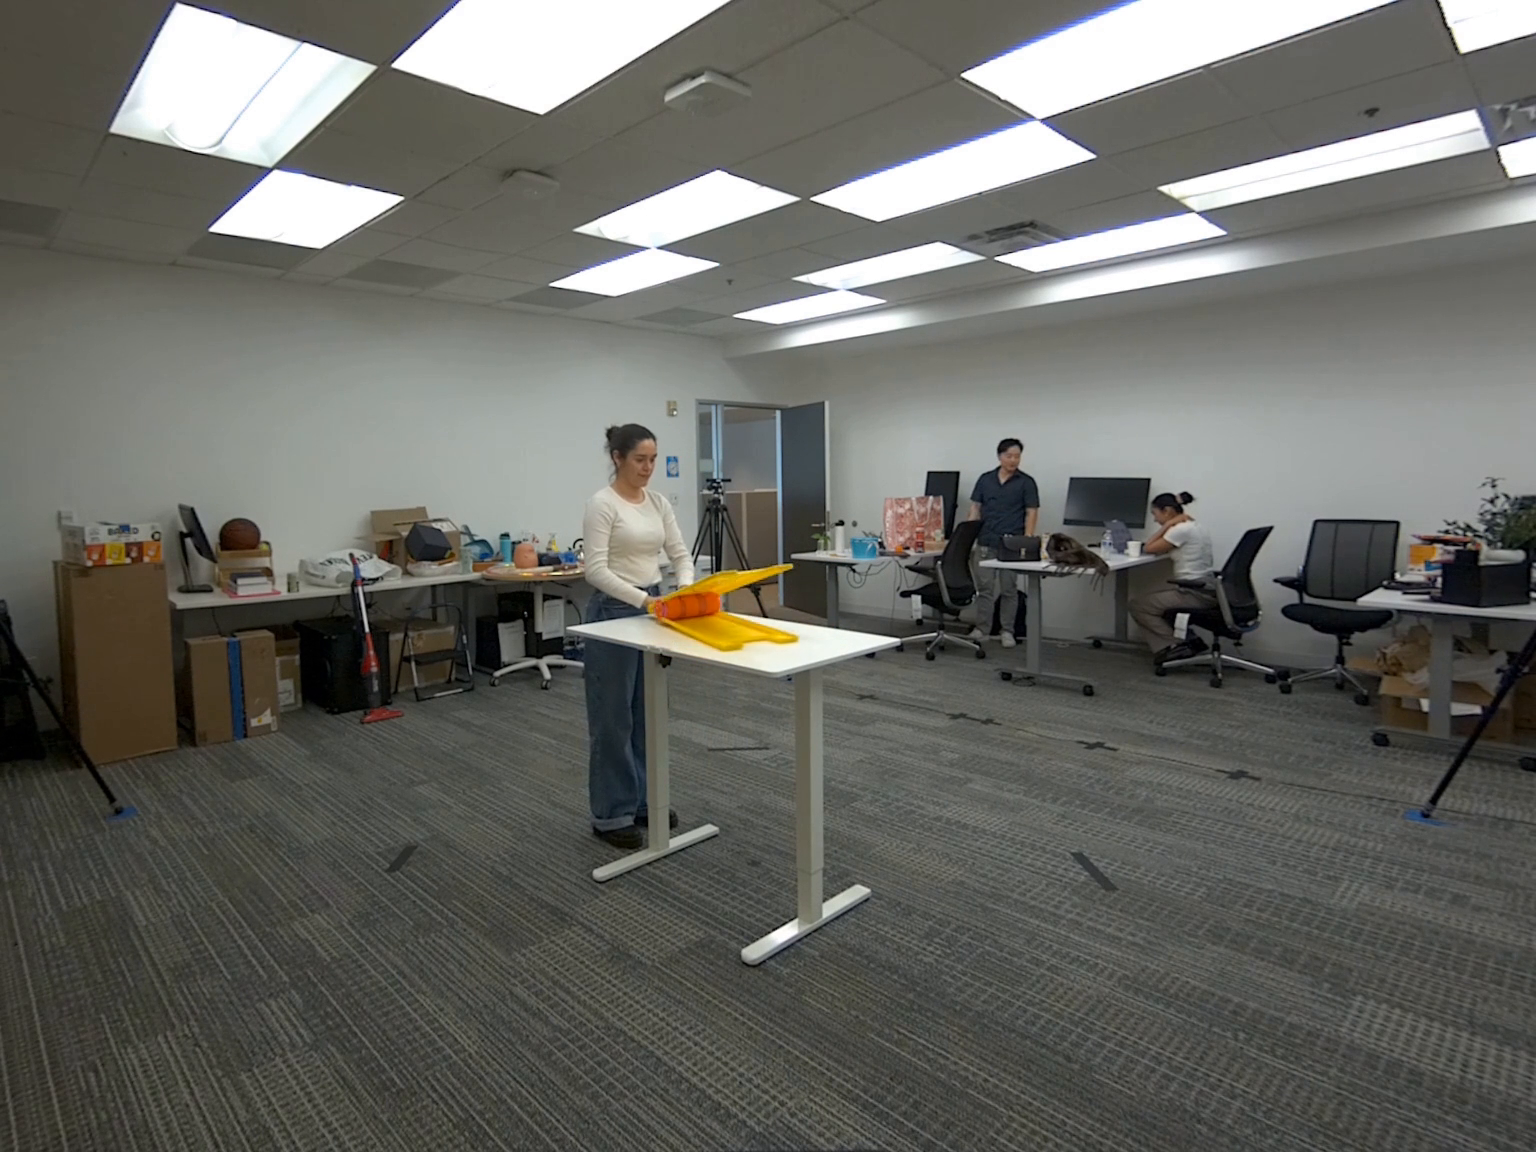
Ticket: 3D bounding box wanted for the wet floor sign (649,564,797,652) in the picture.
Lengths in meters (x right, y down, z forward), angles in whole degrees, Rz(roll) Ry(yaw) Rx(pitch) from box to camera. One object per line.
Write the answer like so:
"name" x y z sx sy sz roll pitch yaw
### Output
"wet floor sign" -0.194 0.114 2.926 0.276 0.290 0.661 -5 1 -31
